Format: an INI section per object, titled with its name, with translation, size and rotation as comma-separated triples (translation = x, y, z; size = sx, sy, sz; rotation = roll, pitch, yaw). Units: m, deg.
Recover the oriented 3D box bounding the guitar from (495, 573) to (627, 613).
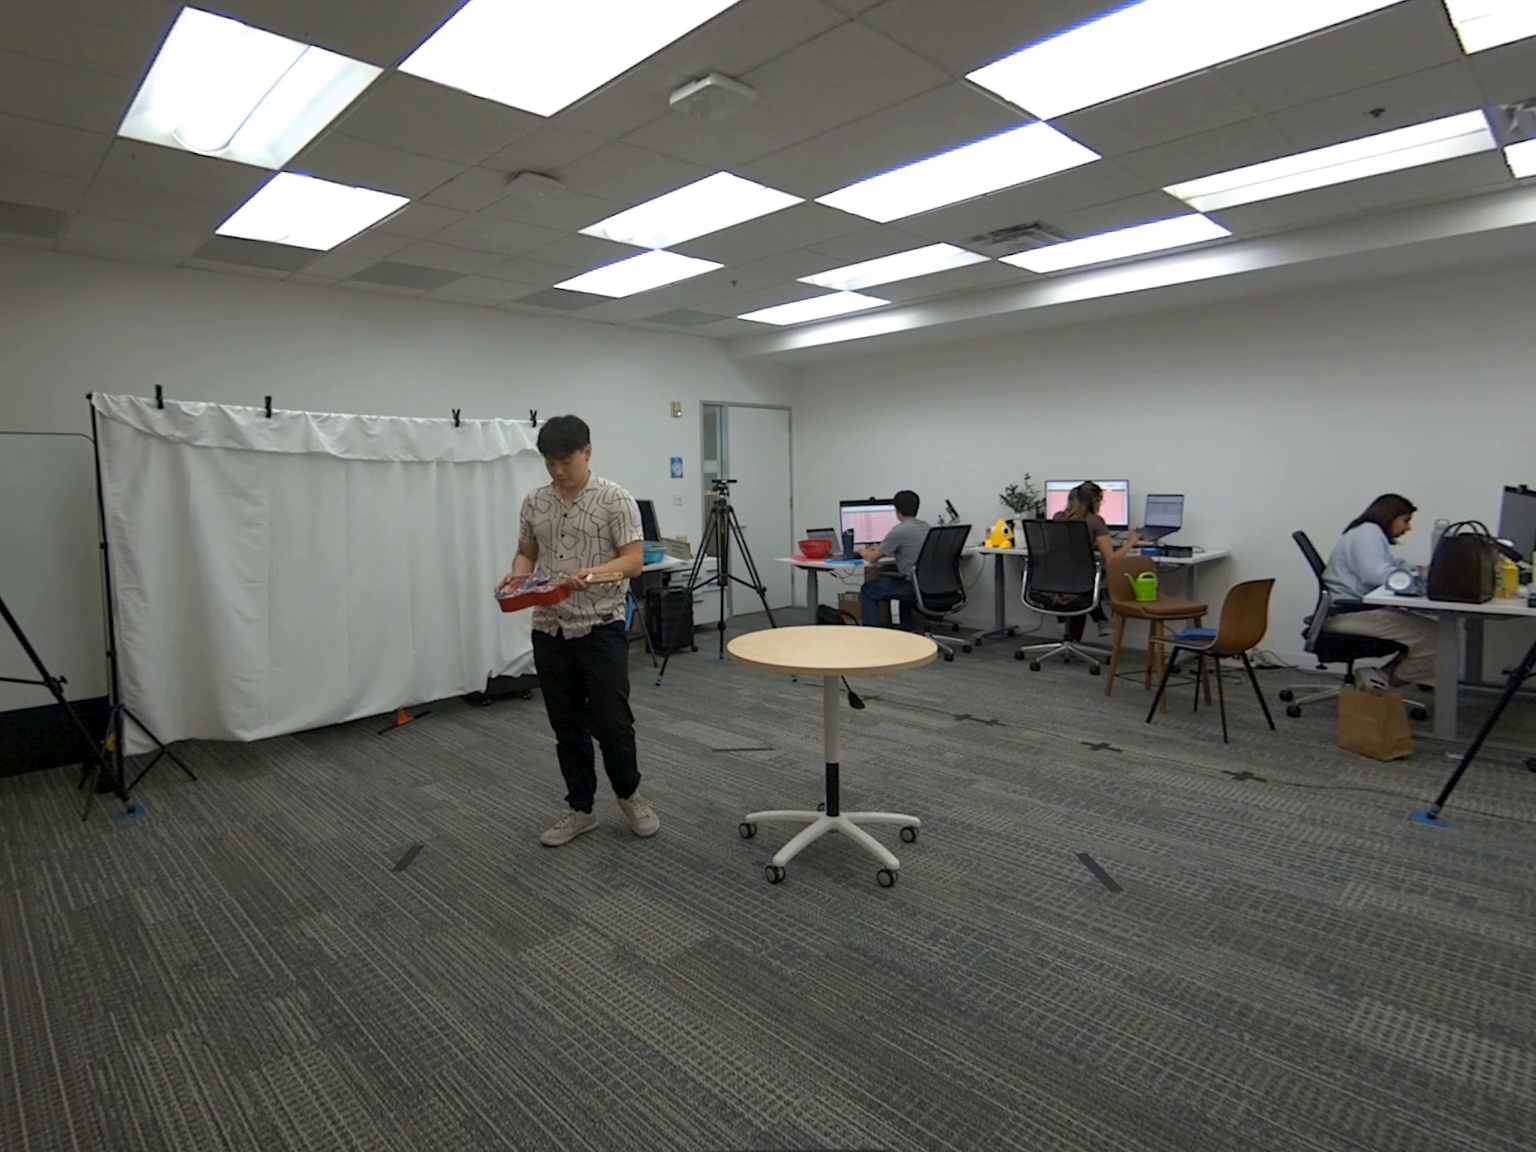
[guitar]
translation = -0.752, 0.056, 3.053
size = 0.510, 0.069, 0.193
rotation = -1, 26, 28
